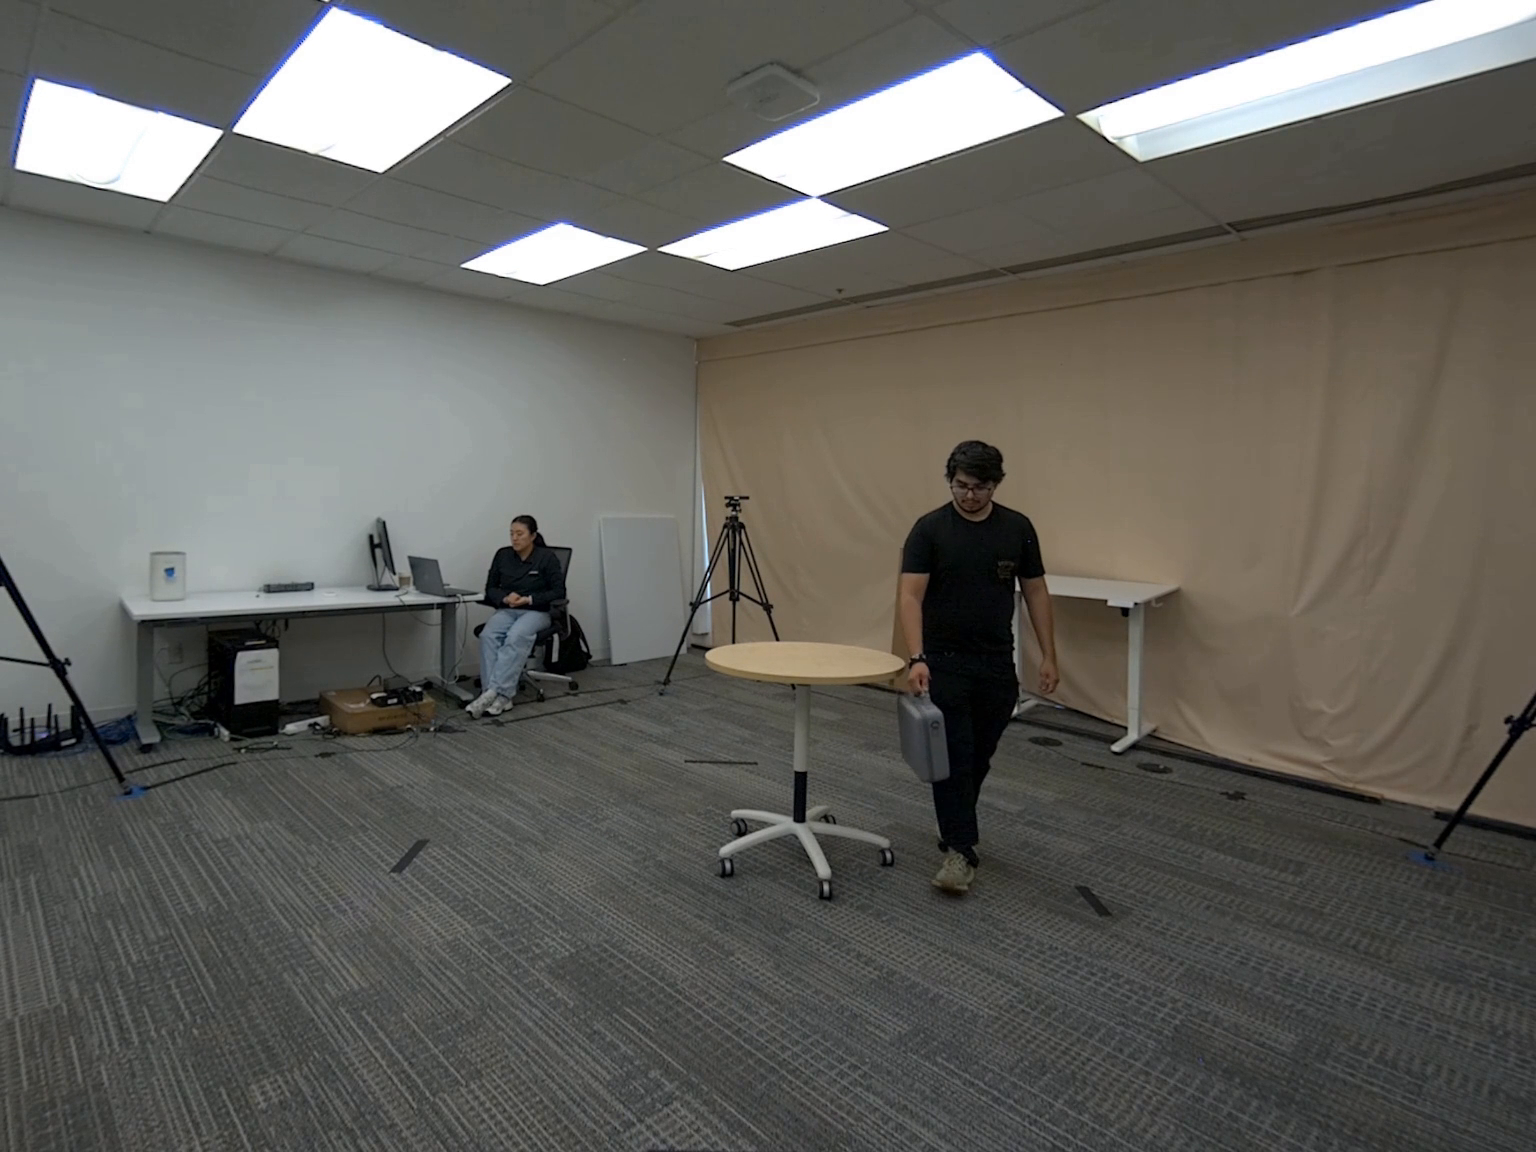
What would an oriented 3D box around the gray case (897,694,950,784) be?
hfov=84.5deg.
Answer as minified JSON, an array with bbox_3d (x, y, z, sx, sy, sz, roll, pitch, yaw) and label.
[{"bbox_3d":[0.538,0.560,2.966,0.104,0.259,0.258,-8,6,-4],"label":"gray case"}]
